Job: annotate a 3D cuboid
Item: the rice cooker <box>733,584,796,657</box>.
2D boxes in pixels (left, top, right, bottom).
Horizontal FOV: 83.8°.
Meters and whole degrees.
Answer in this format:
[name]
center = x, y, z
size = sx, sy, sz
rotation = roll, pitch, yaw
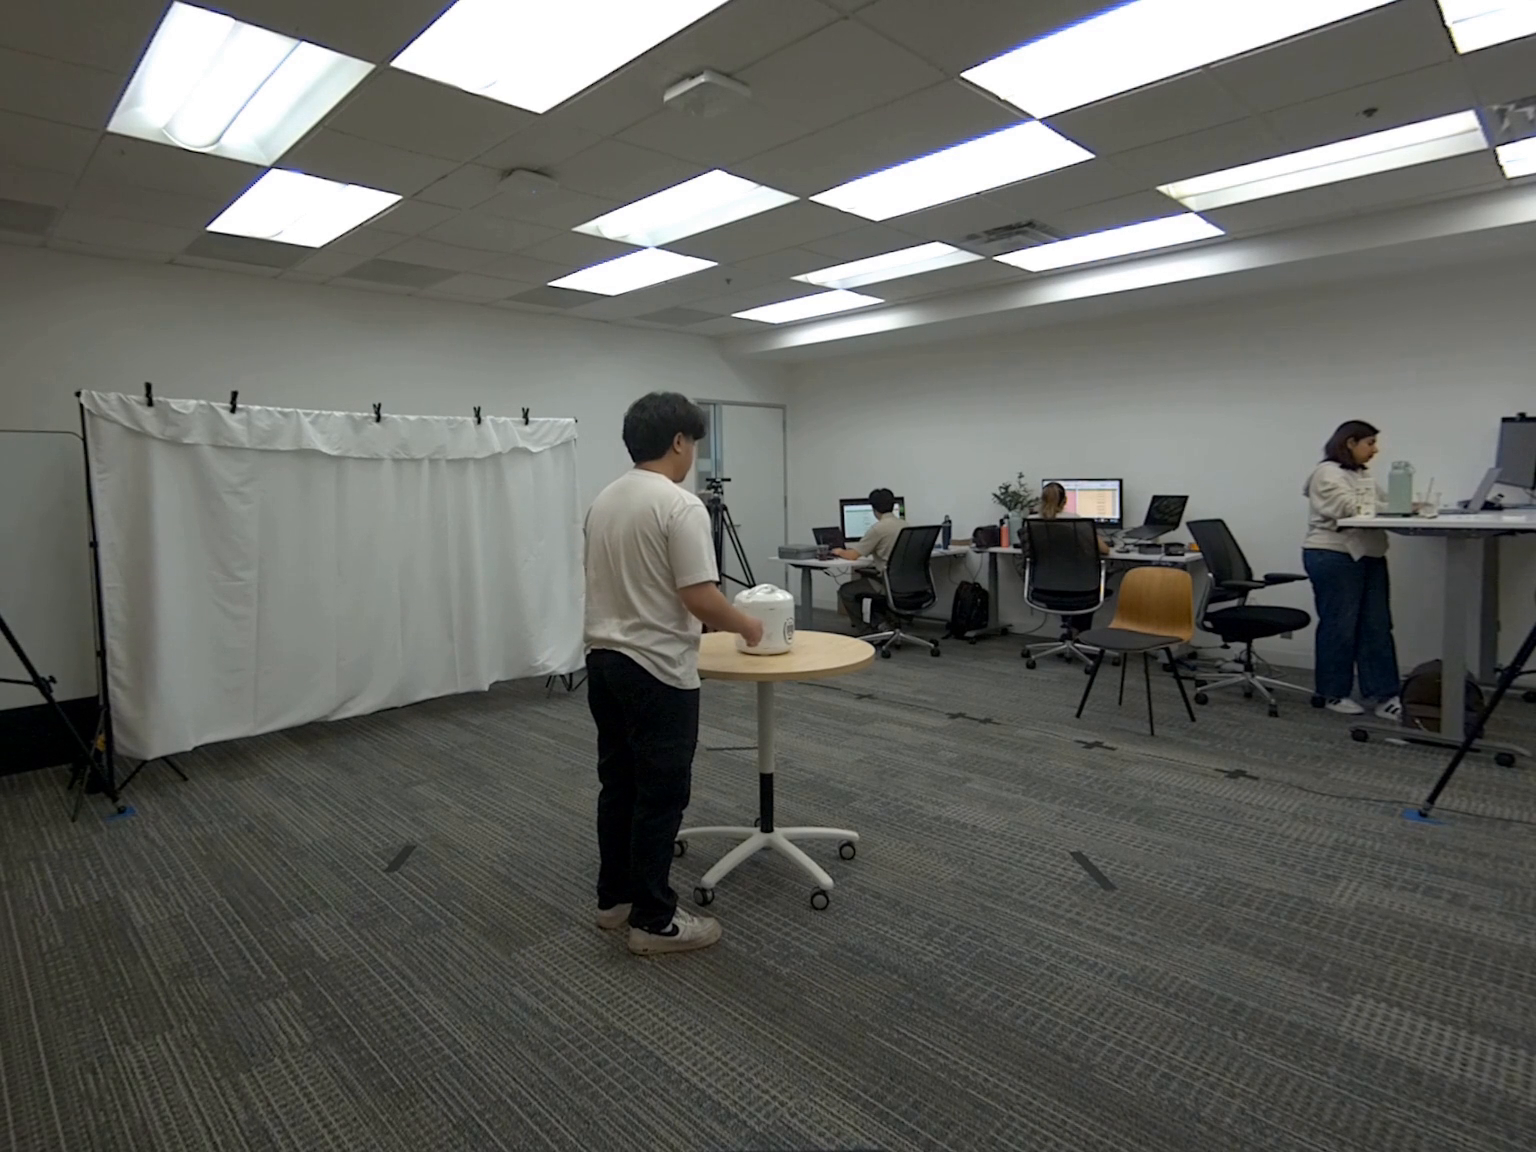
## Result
[rice cooker]
center = -0.006, 0.141, 2.959
size = 0.224, 0.232, 0.215
rotation = 2, 5, 37
